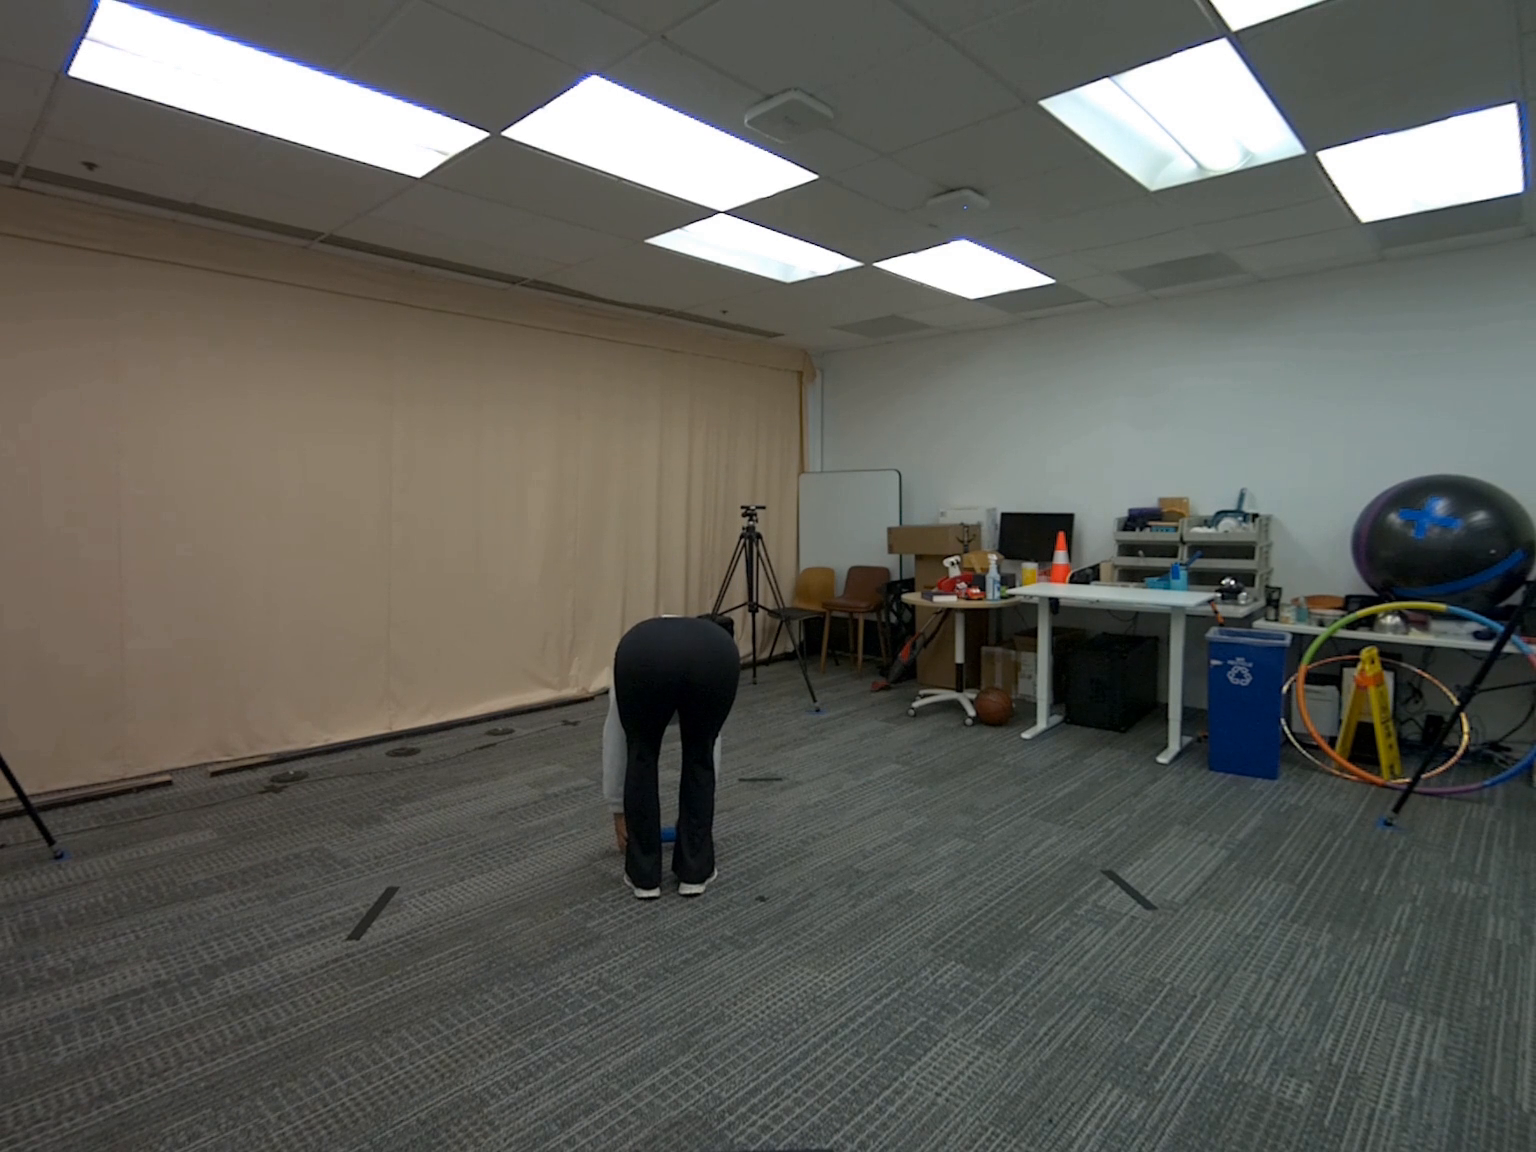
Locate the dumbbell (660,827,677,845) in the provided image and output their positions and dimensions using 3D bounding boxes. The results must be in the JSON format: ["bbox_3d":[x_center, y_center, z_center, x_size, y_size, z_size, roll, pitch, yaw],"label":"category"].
[{"bbox_3d":[-0.435,1.048,3.394,0.290,0.121,0.111,-1,31,-12],"label":"dumbbell"}]
